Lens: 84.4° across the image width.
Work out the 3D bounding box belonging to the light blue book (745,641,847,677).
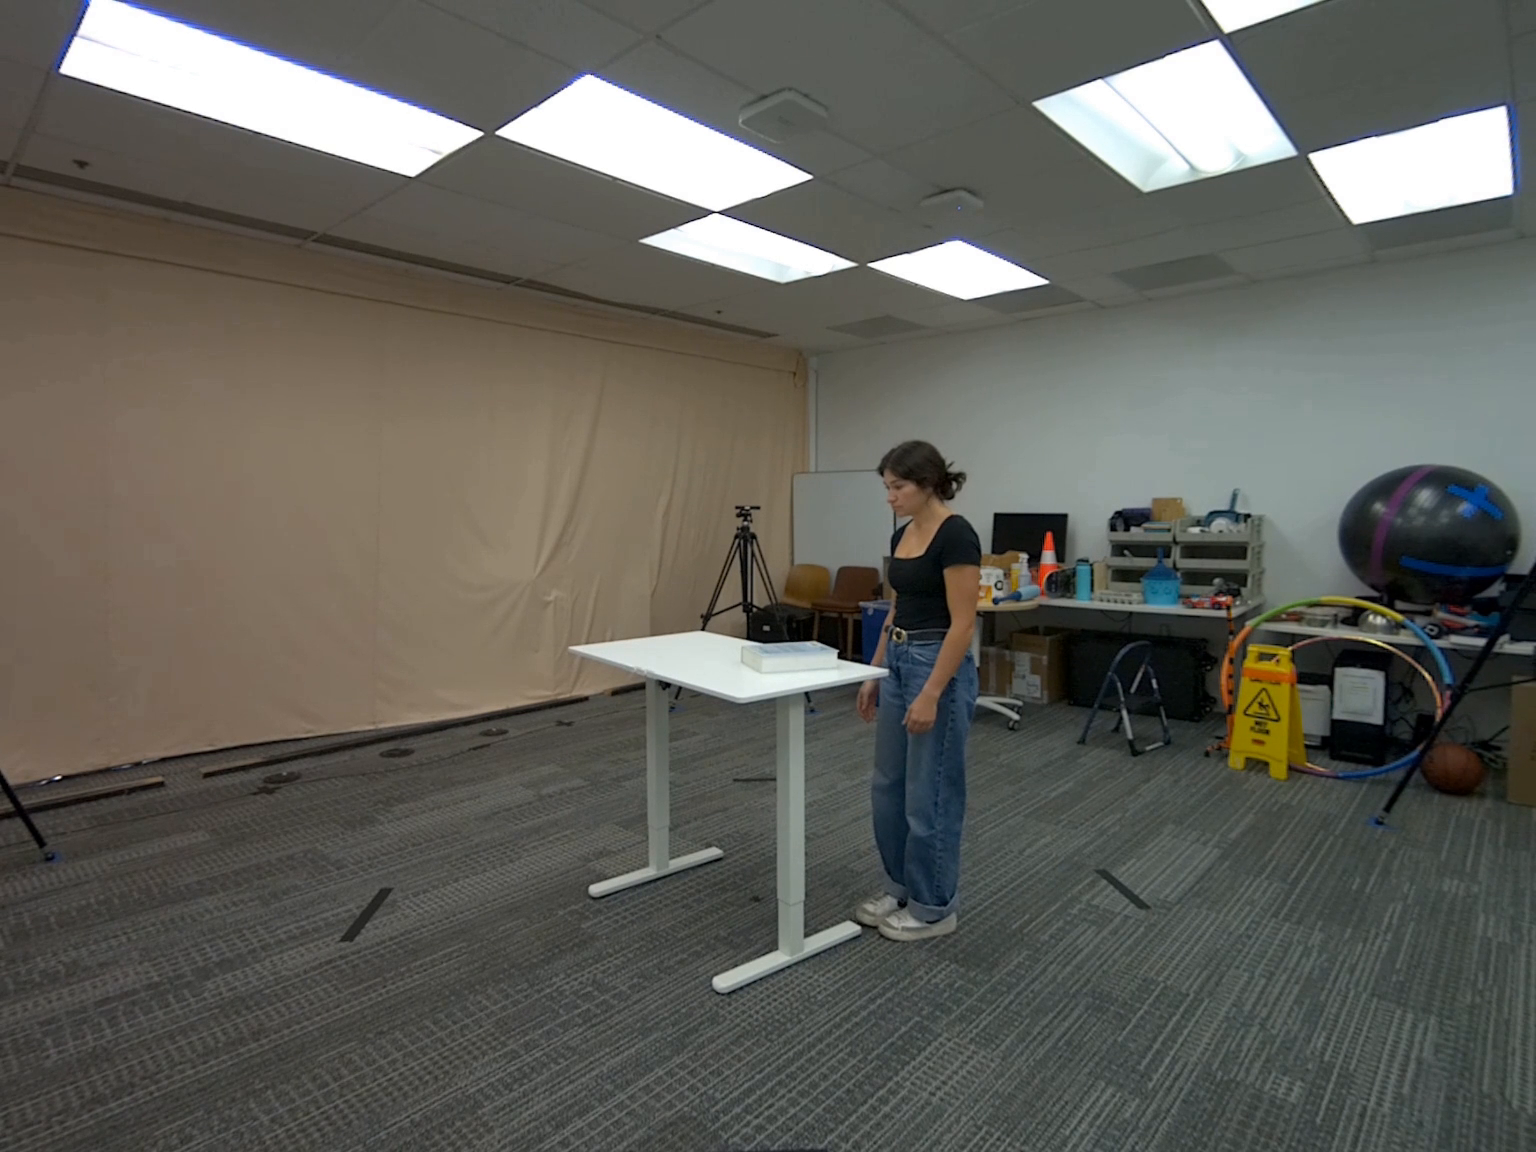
[{"bbox_3d":[0.085,0.260,2.701,0.255,0.059,0.196,-2,6,-22],"label":"light blue book"}]
